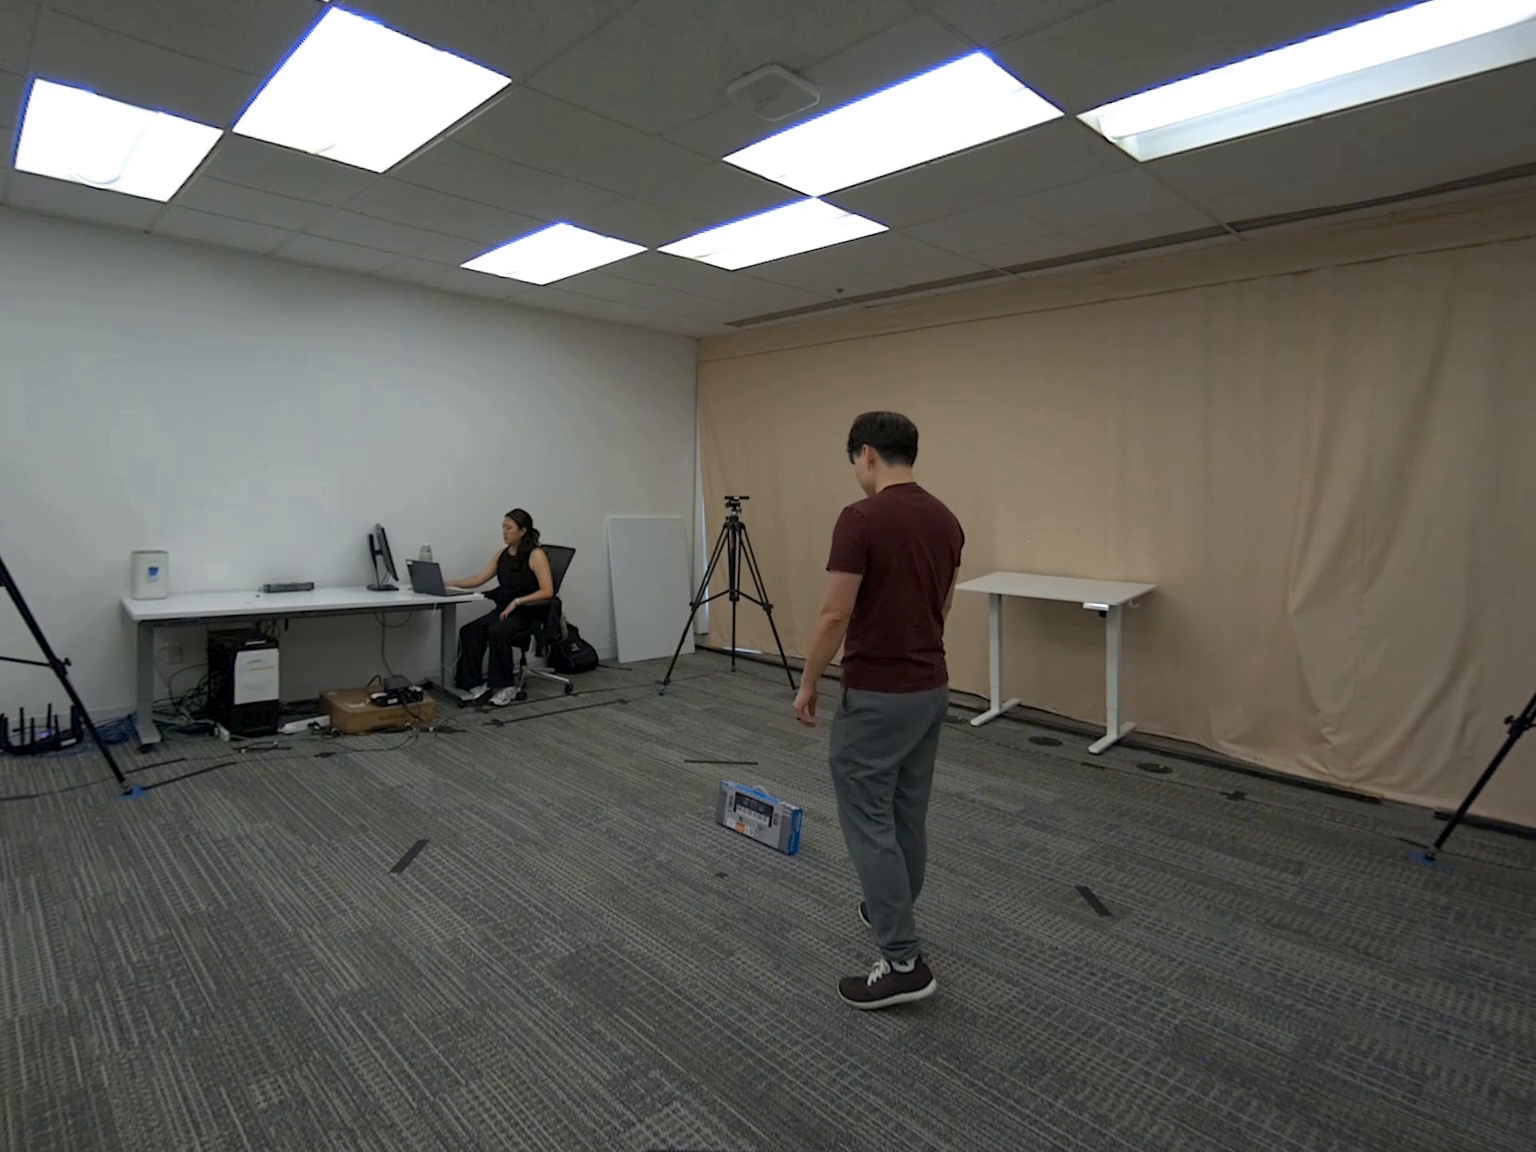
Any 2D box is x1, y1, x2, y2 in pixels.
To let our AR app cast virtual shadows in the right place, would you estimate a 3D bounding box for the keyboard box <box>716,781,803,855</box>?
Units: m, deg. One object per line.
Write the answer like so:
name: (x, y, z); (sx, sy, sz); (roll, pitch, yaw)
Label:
keyboard box: (-0.054, 0.988, 3.466); (0.057, 0.176, 0.448); (11, -3, -43)
